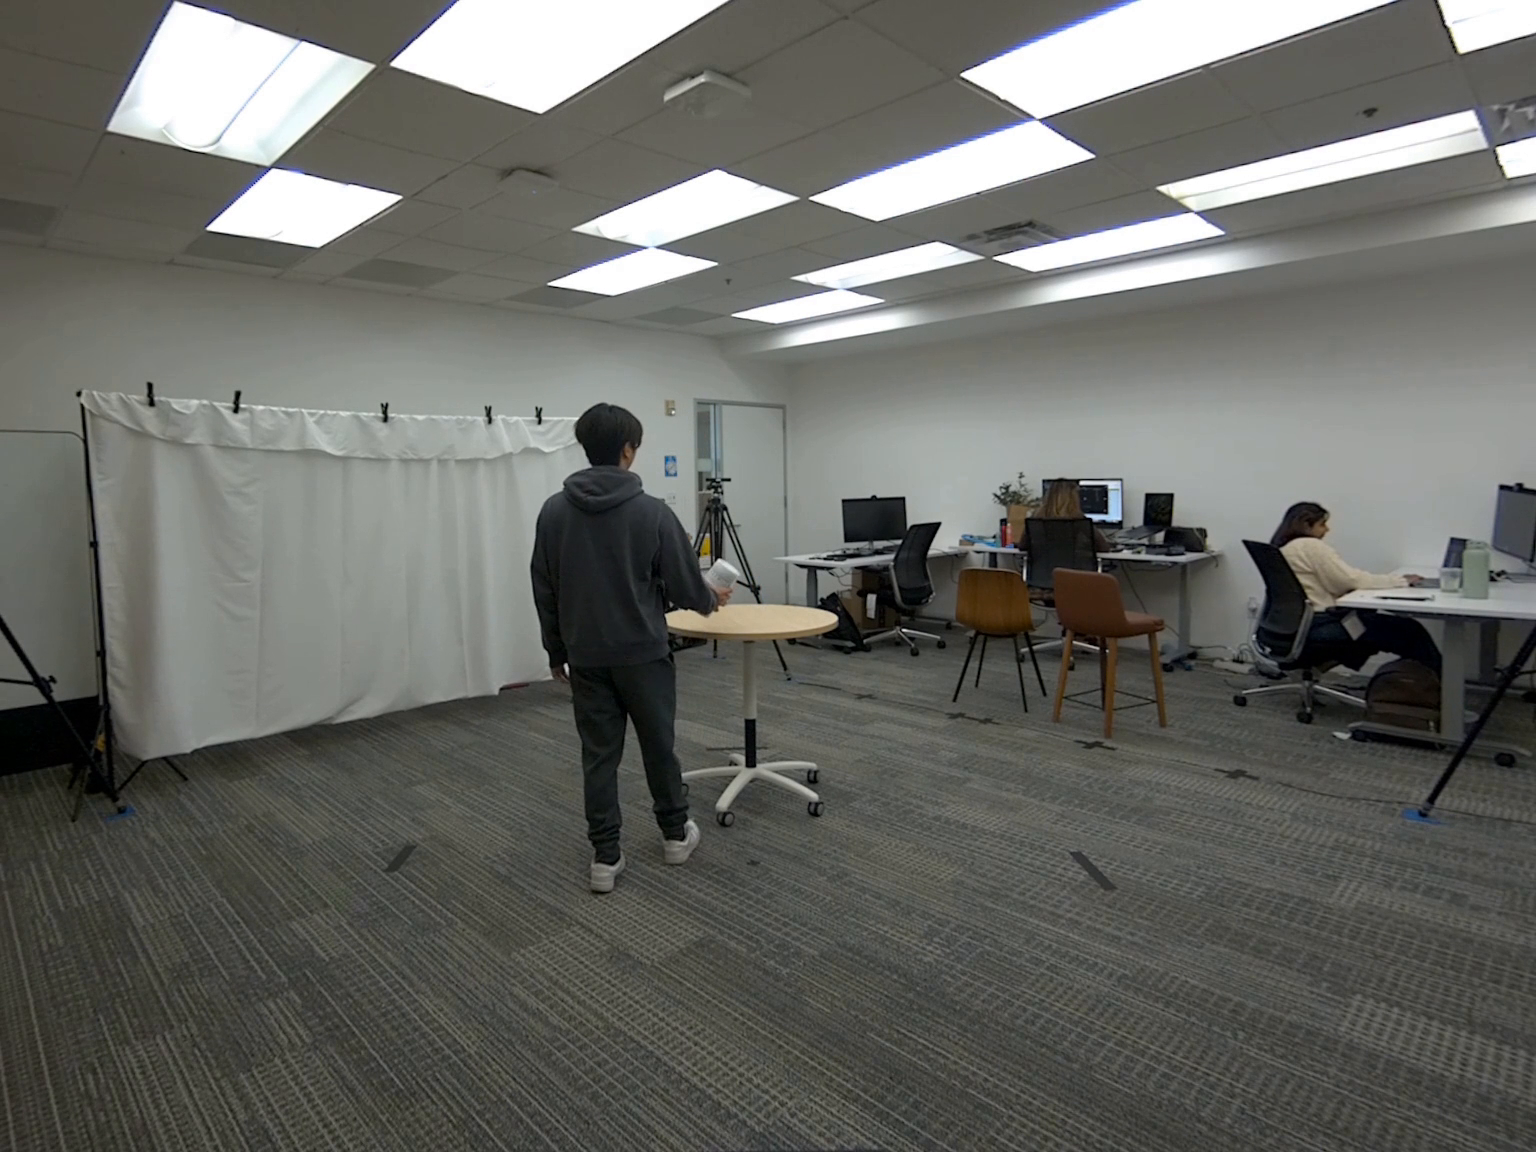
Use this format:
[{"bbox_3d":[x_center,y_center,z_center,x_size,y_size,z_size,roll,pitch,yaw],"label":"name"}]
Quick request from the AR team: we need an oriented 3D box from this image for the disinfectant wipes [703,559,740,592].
[{"bbox_3d":[-0.206,0.044,3.332,0.117,0.217,0.119,36,8,-8],"label":"disinfectant wipes"}]
